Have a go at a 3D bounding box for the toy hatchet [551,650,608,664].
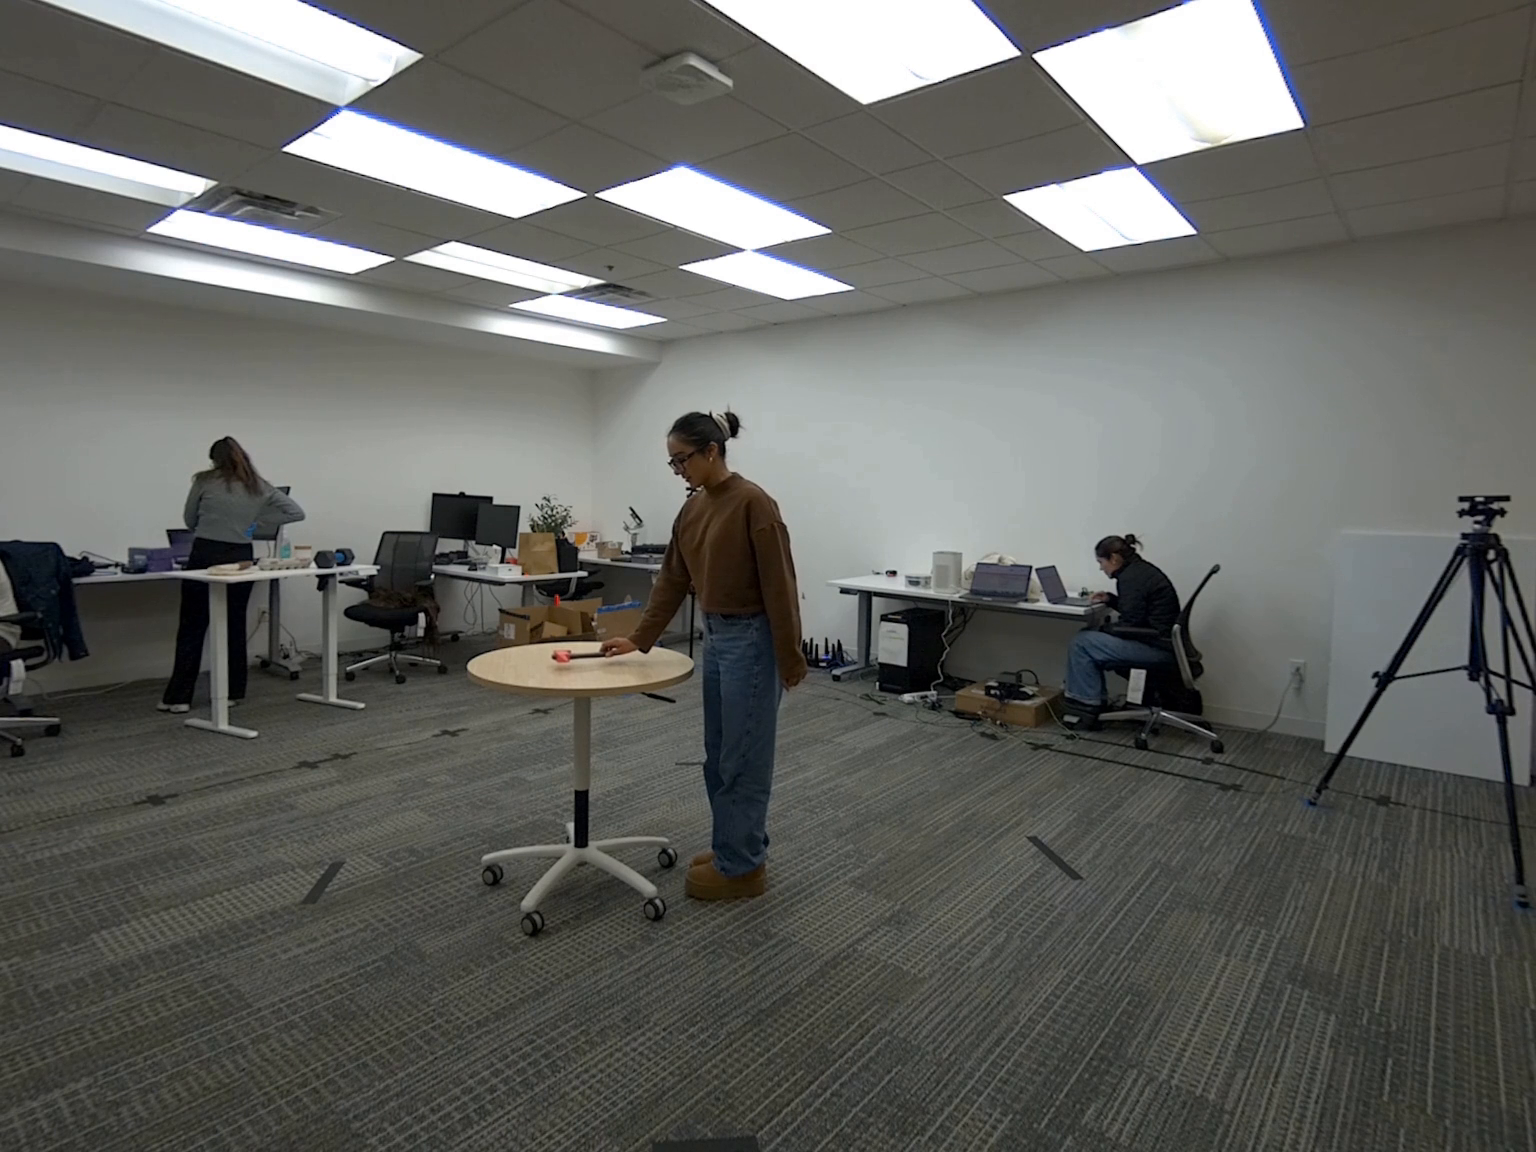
[{"bbox_3d":[-0.603,0.271,2.872,0.265,0.029,0.134,2,6,-17],"label":"toy hatchet"}]
